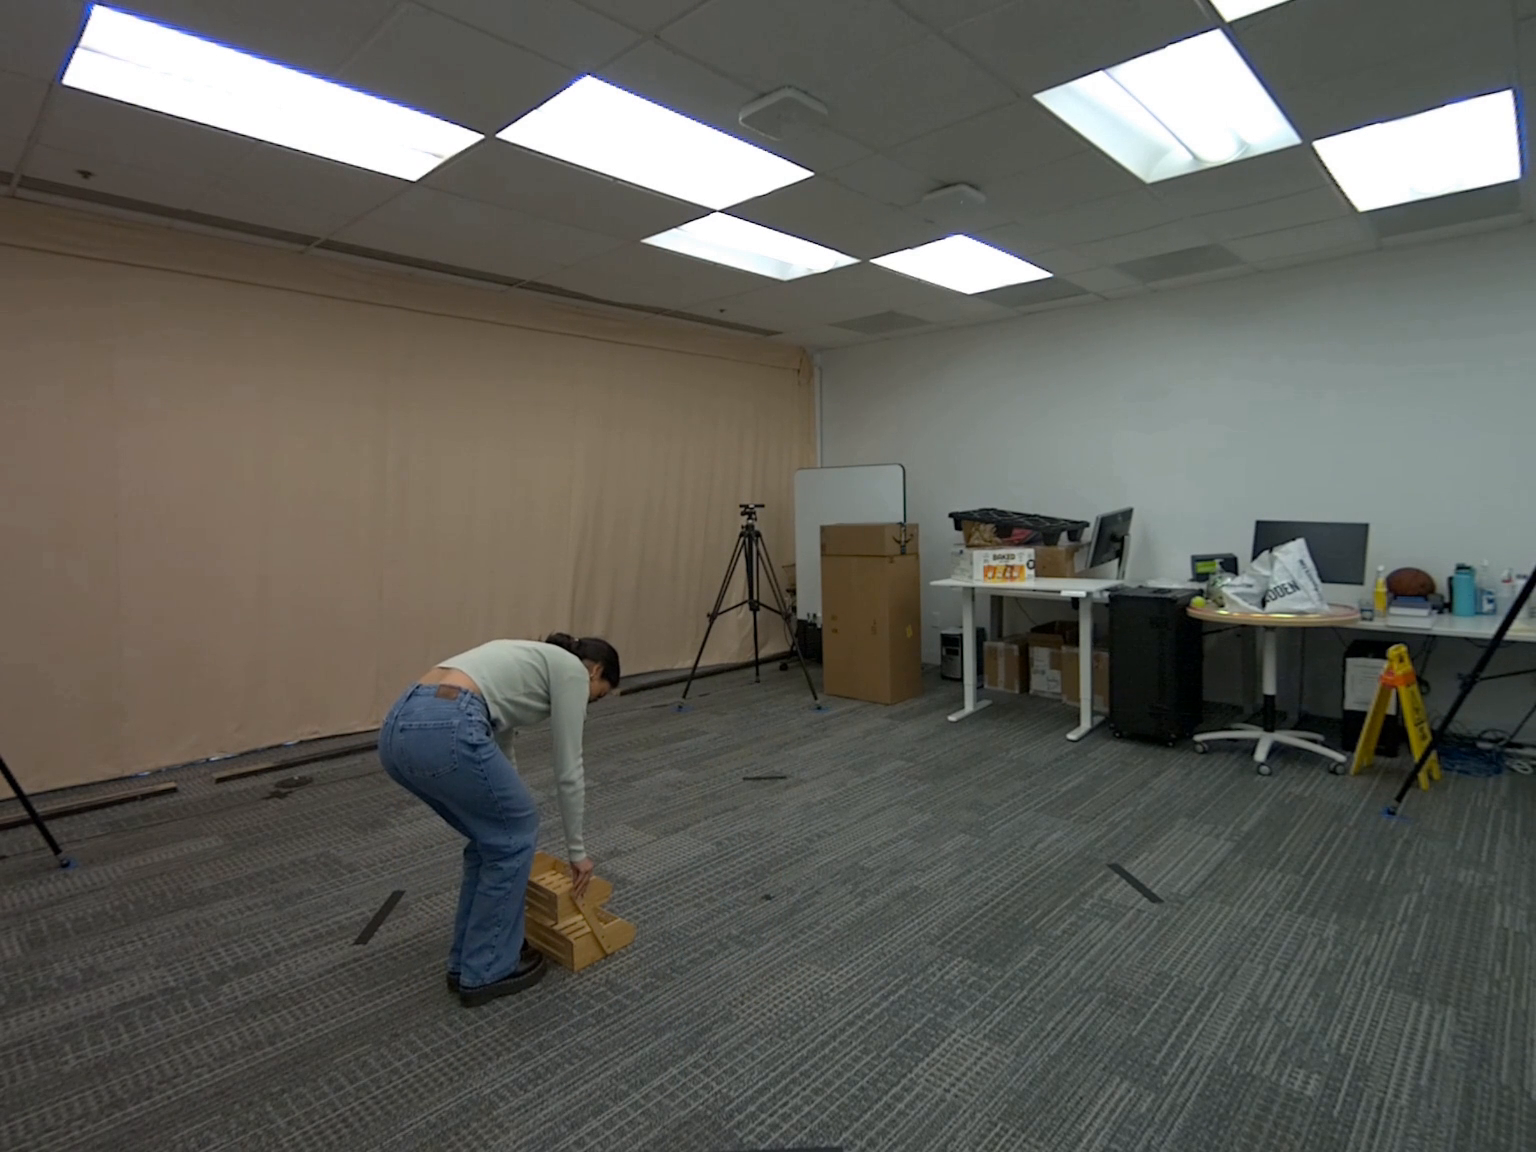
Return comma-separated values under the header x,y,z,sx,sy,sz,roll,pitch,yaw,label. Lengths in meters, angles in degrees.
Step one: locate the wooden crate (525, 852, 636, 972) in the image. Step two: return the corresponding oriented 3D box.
x,y,z,sx,sy,sz,roll,pitch,yaw,label
-0.634,1.044,2.695,0.335,0.272,0.293,3,7,42,wooden crate
